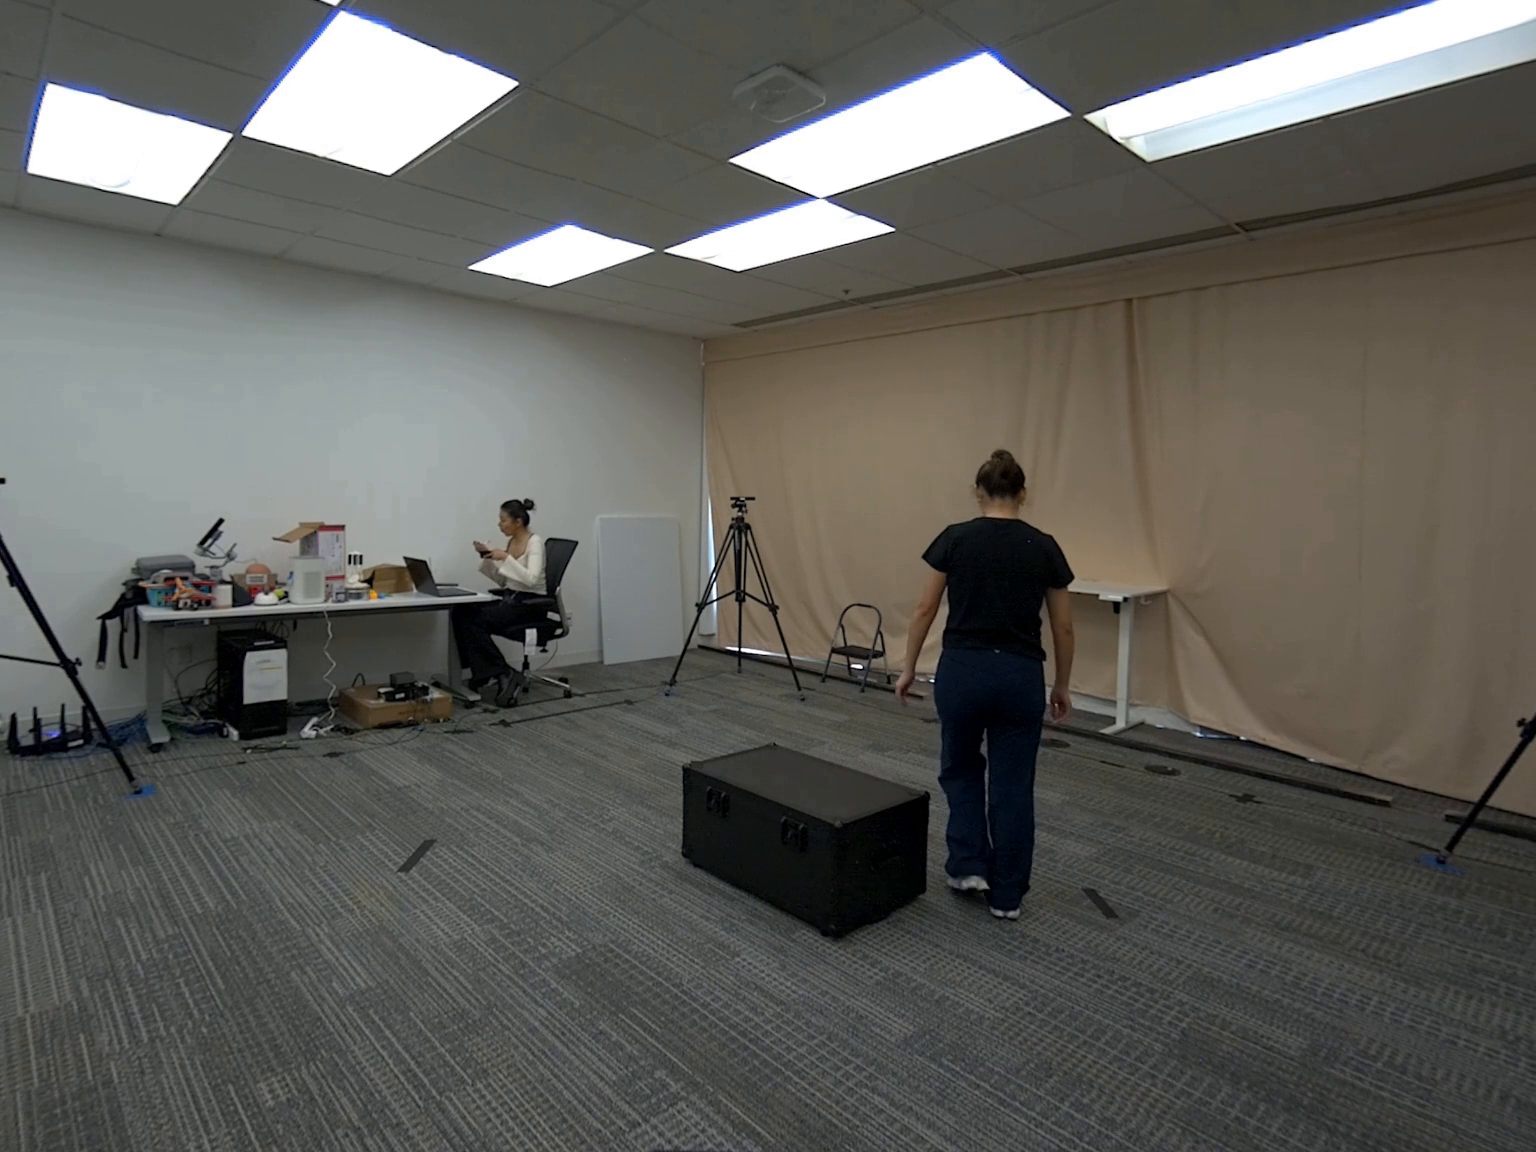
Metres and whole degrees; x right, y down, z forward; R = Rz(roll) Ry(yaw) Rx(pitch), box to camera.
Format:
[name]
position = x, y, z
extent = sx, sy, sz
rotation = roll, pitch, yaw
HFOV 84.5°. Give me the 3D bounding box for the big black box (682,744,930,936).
[big black box]
position = 0.092, 0.924, 3.087
extent = 0.509, 0.395, 0.884
rotation = -2, 6, -43
